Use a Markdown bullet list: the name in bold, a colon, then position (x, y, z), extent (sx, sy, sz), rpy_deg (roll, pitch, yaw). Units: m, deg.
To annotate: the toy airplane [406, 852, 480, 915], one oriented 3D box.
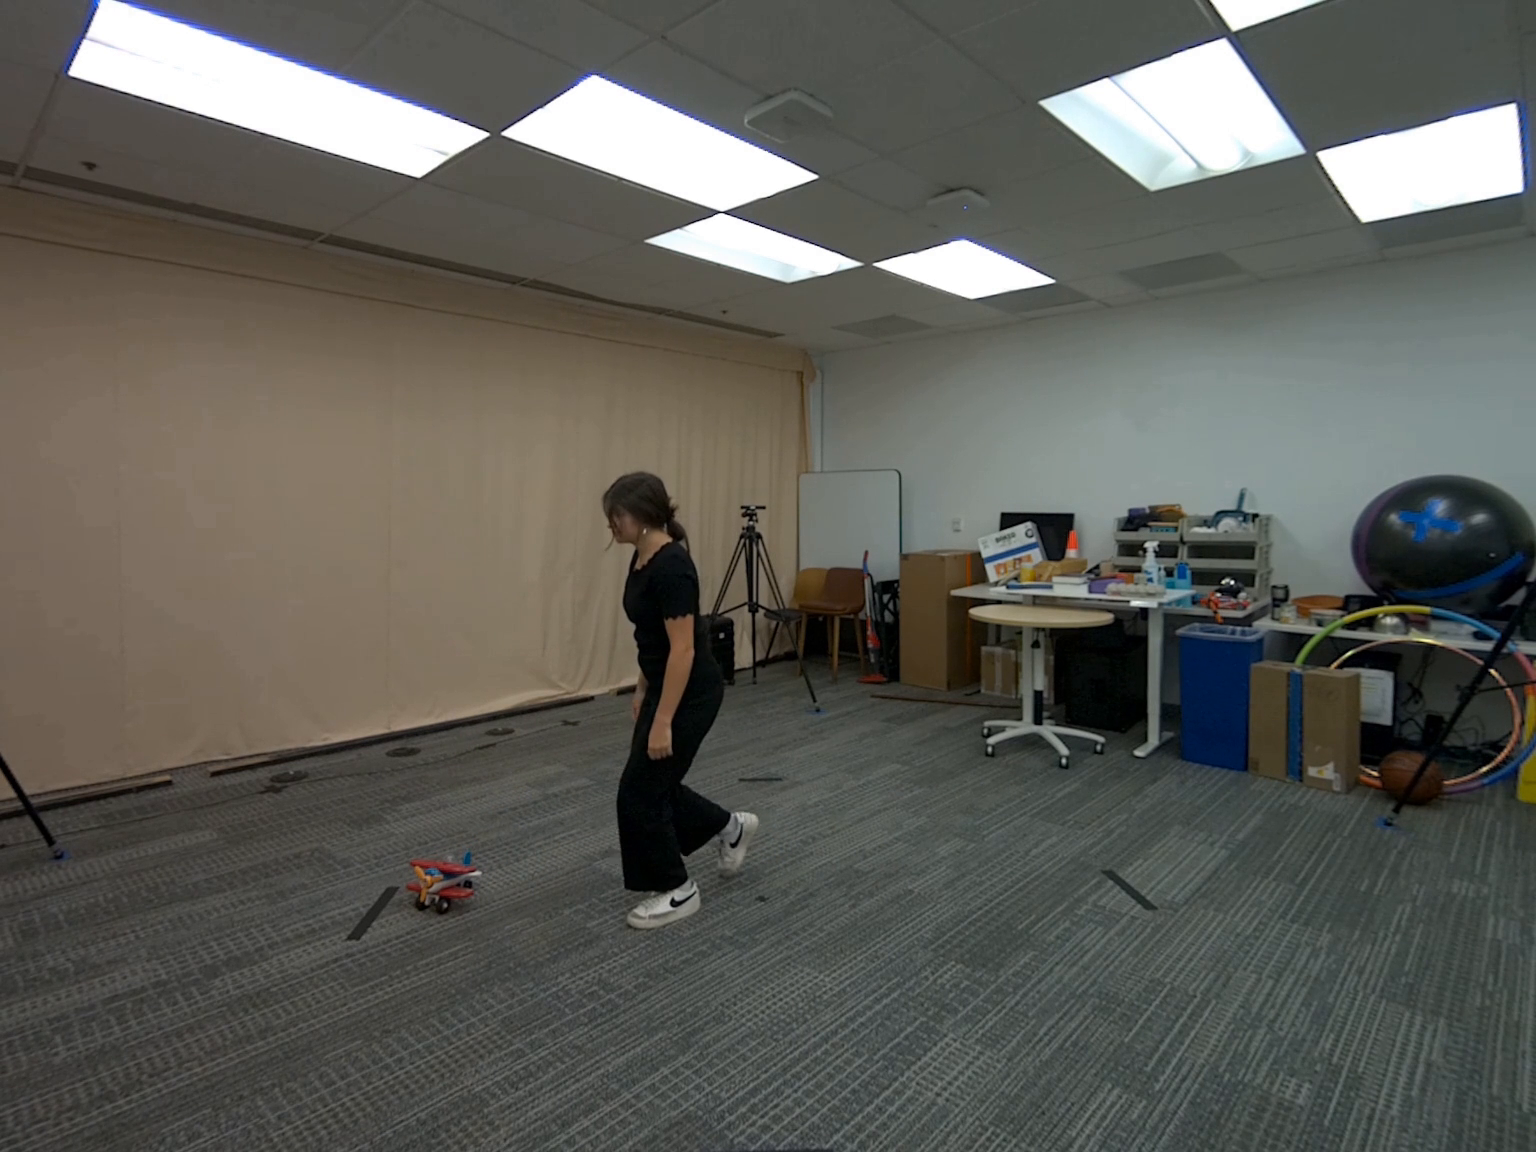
- **toy airplane**: position (-1.163, 1.087, 2.995), extent (0.249, 0.156, 0.263), rpy_deg (-2, 5, -10)
